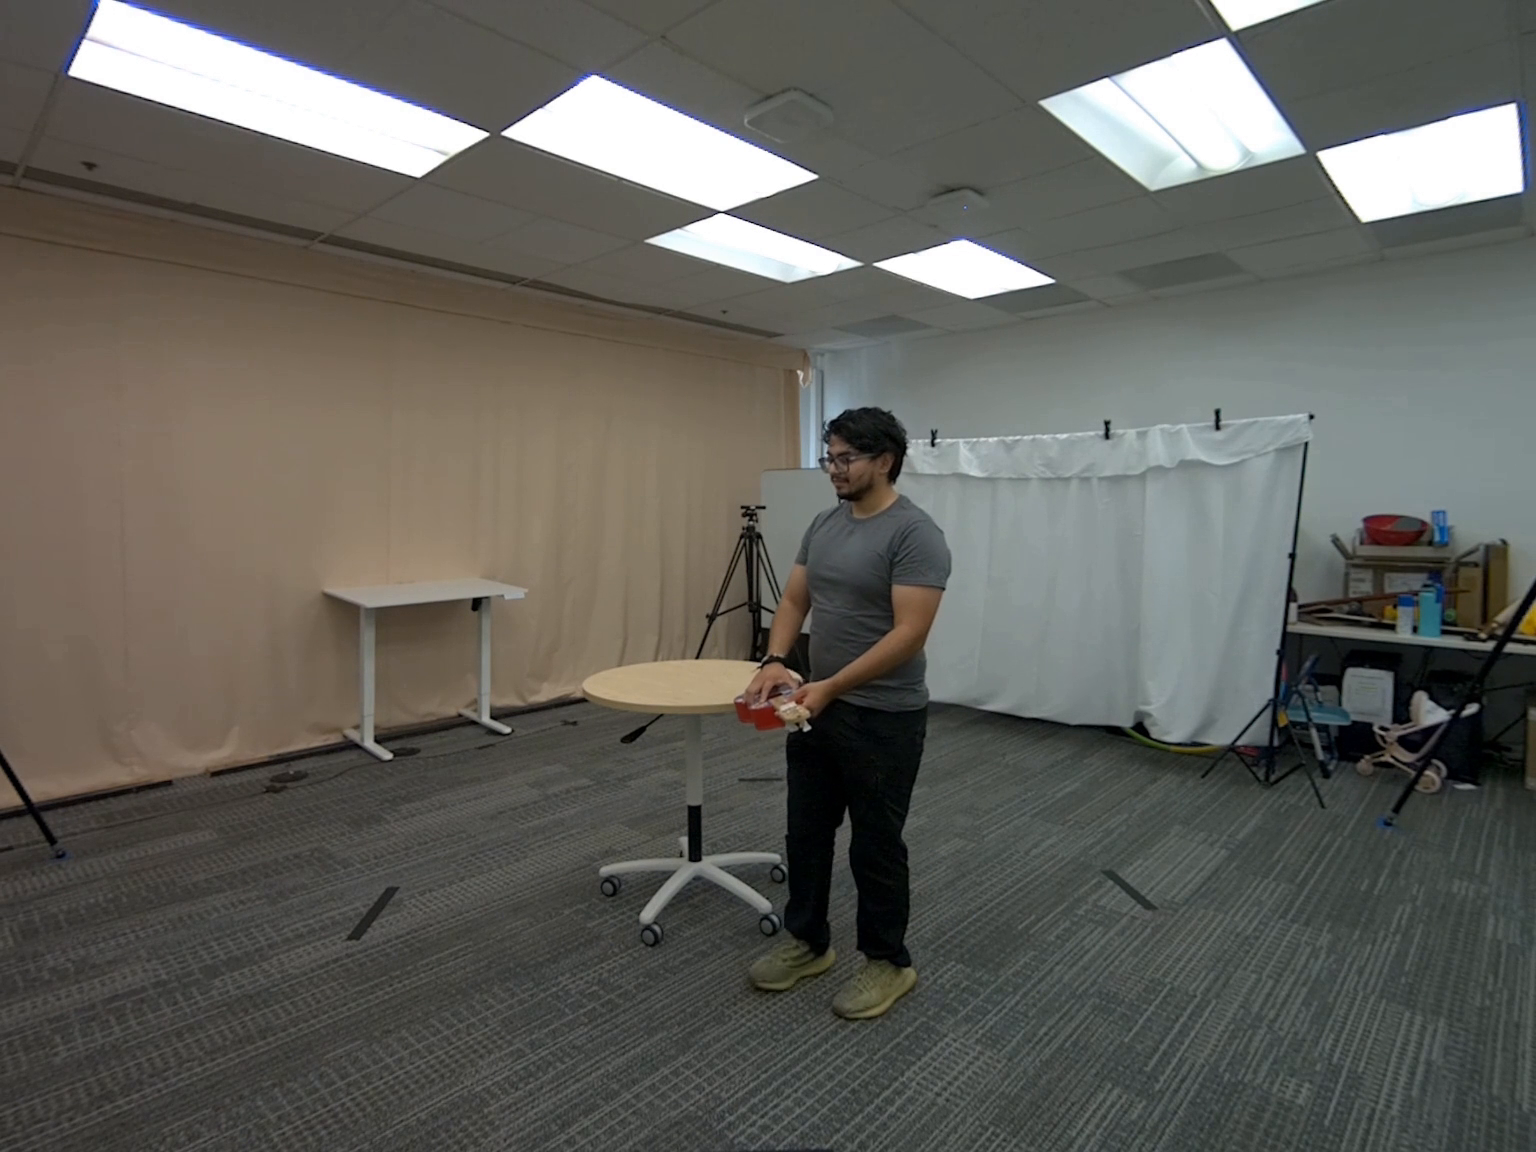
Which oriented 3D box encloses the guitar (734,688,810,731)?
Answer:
[{"bbox_3d":[0.009,0.345,2.123,0.193,0.070,0.499,-23,6,1],"label":"guitar"}]
